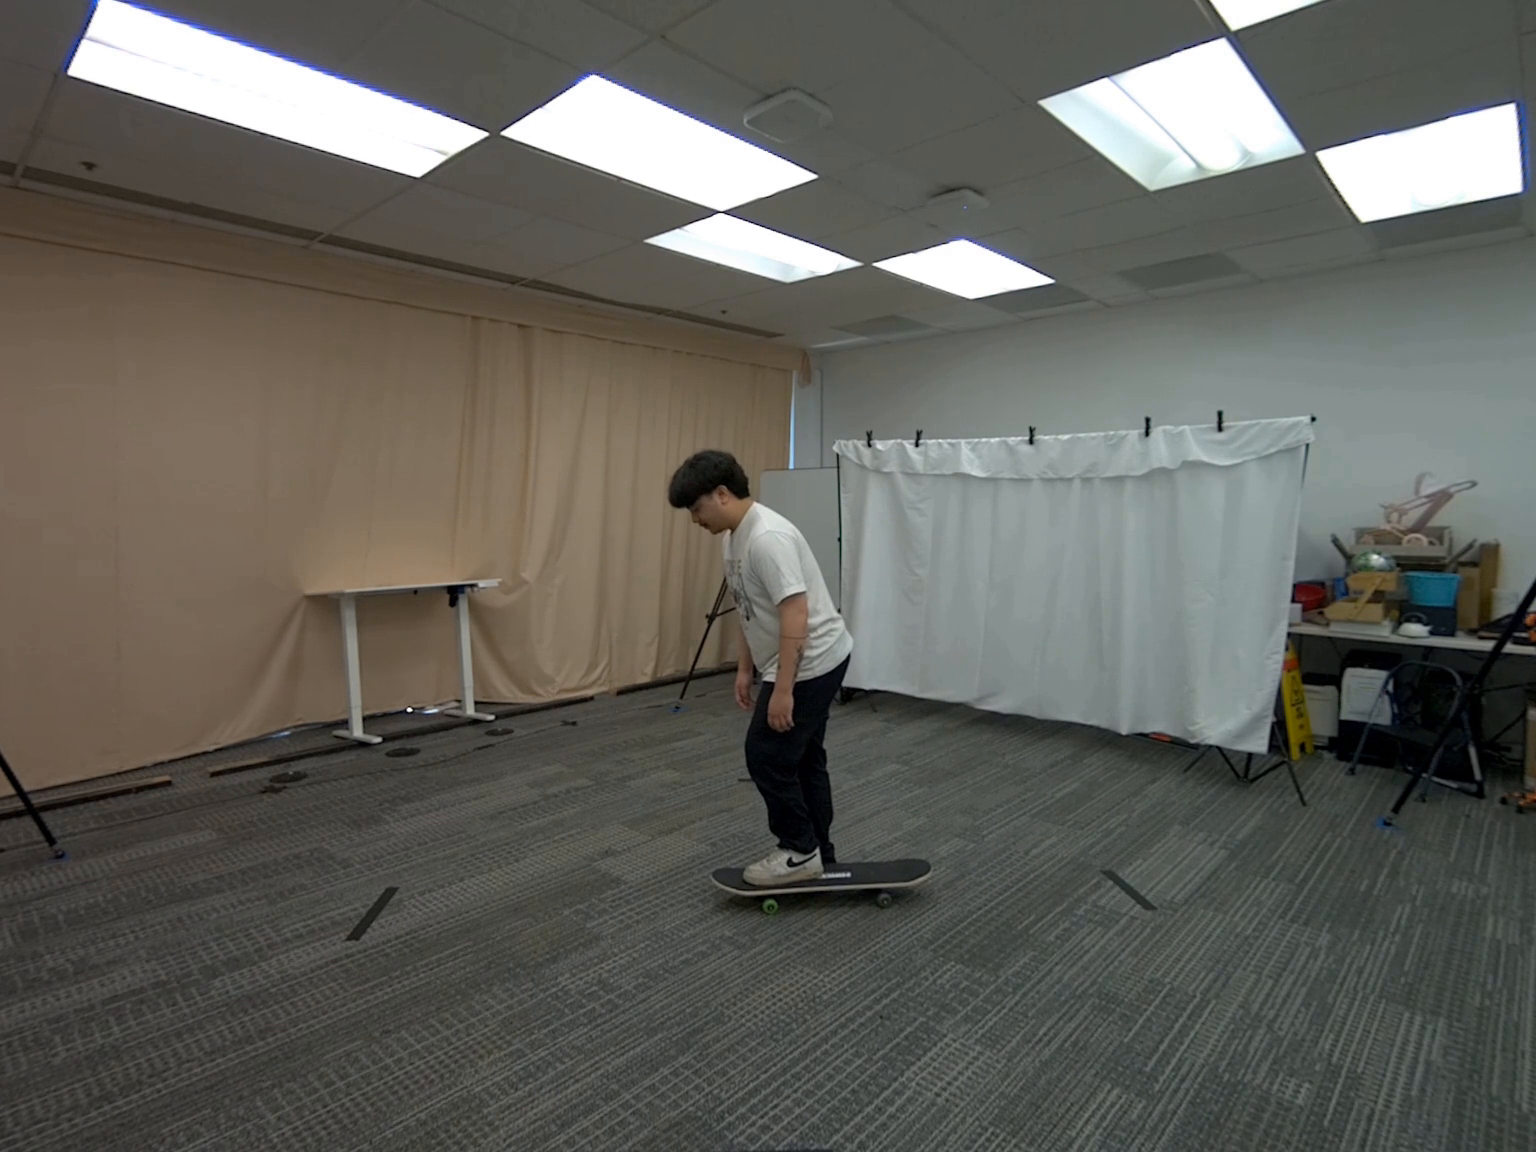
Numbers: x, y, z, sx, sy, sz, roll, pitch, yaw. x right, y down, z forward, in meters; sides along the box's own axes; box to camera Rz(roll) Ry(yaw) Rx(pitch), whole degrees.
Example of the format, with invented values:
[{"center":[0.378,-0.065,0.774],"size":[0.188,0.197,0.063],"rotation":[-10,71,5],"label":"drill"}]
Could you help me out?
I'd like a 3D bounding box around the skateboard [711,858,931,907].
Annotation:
[{"center":[0.191,1.085,2.973],"size":[0.781,0.110,0.195],"rotation":[-1,4,-5],"label":"skateboard"}]
